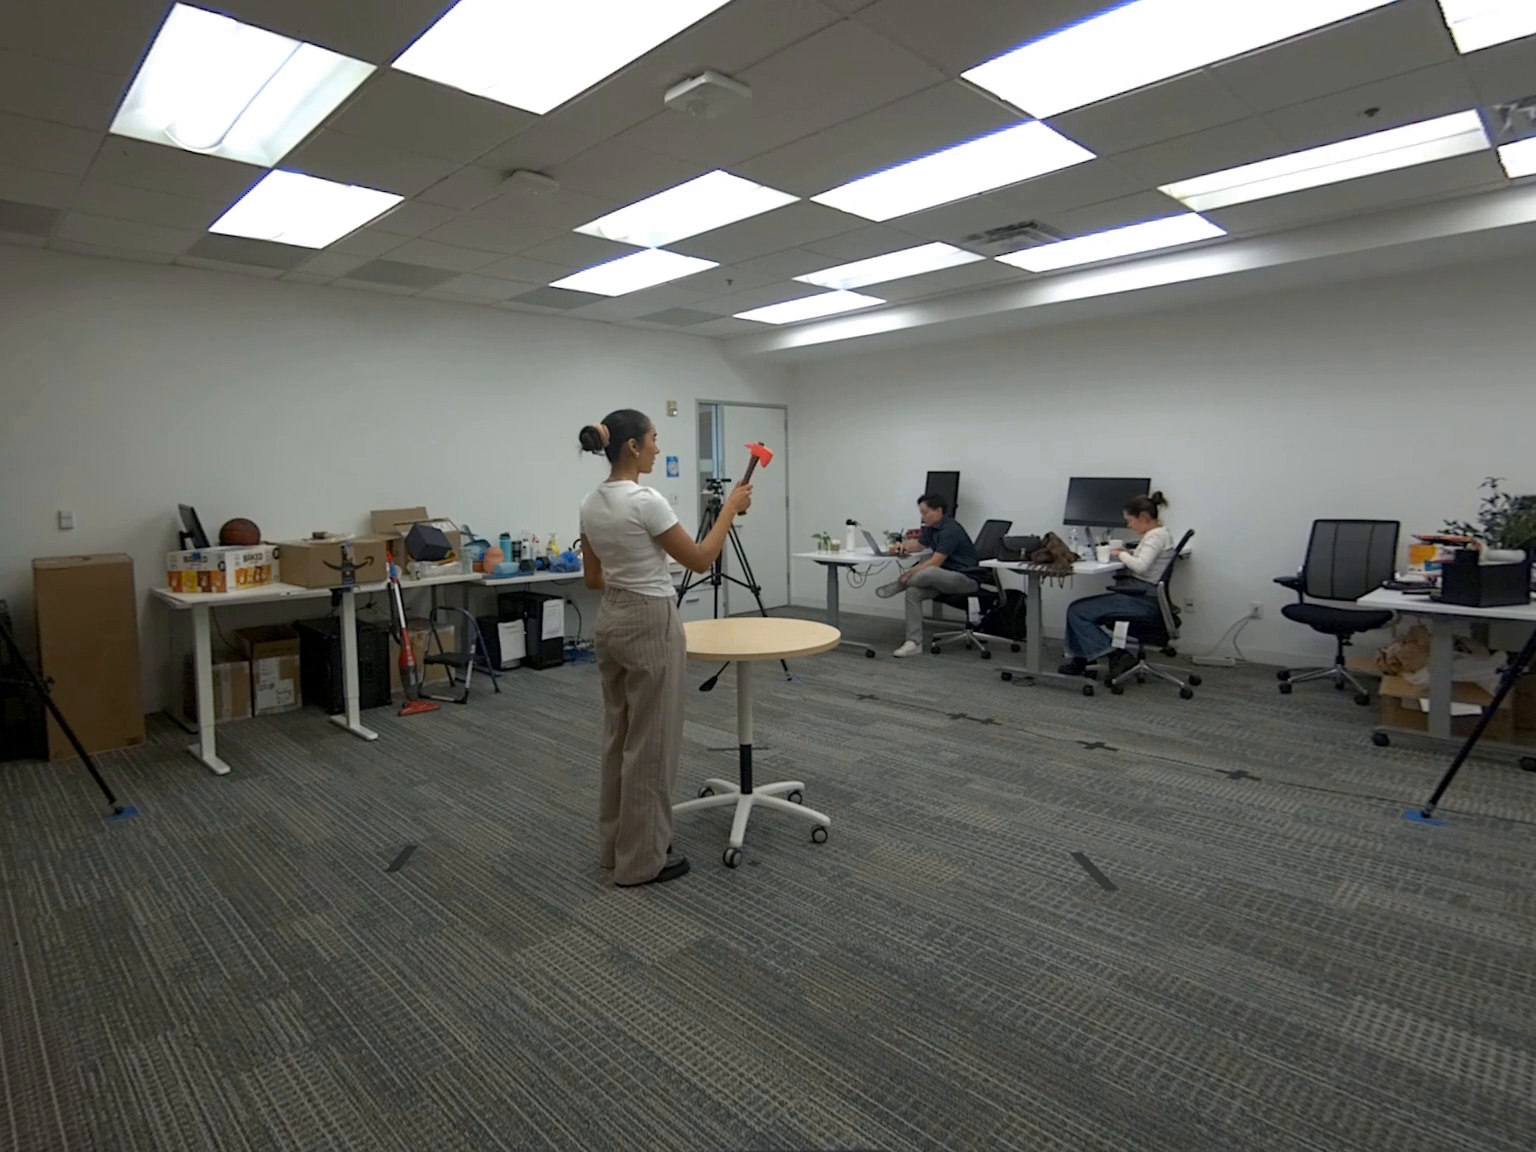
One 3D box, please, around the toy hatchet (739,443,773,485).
[{"bbox_3d":[-0.051,-0.351,3.071,0.135,0.271,0.028,5,-7,33],"label":"toy hatchet"}]
